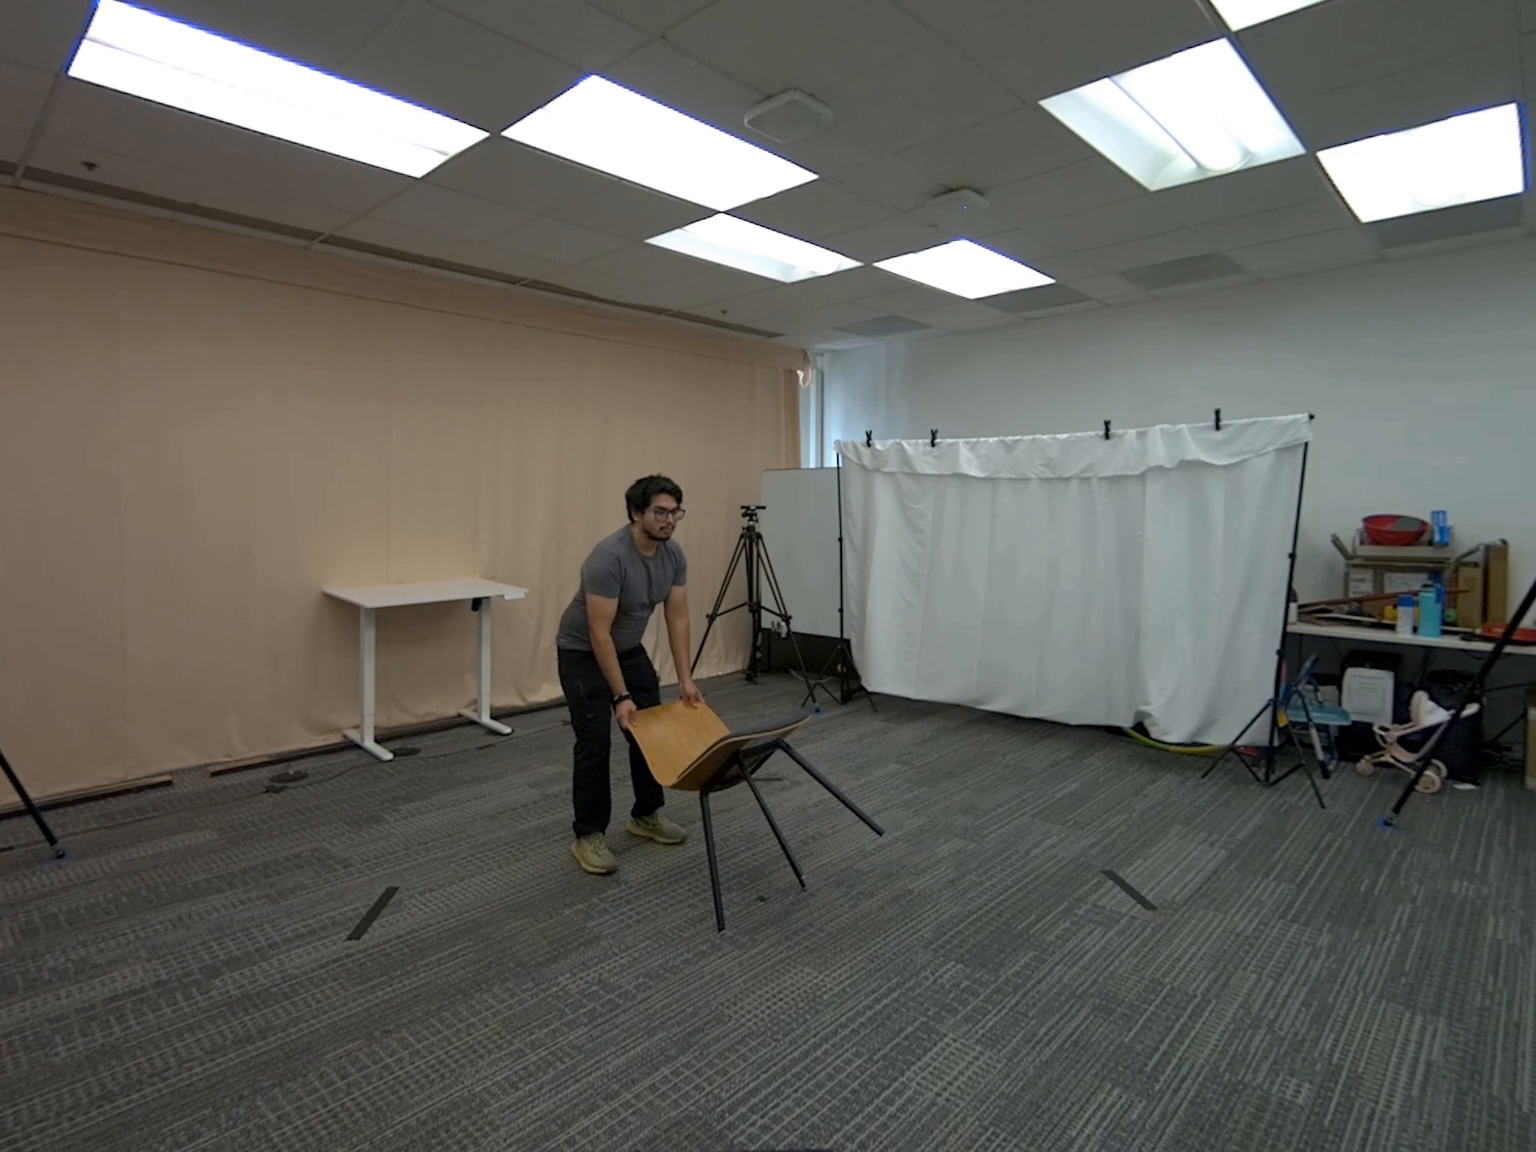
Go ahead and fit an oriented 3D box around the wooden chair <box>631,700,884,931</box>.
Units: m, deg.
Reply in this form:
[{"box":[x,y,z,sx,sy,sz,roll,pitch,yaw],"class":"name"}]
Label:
[{"box":[-0.087,0.669,2.944,0.463,0.901,0.525,-4,-40,-47],"class":"wooden chair"}]
